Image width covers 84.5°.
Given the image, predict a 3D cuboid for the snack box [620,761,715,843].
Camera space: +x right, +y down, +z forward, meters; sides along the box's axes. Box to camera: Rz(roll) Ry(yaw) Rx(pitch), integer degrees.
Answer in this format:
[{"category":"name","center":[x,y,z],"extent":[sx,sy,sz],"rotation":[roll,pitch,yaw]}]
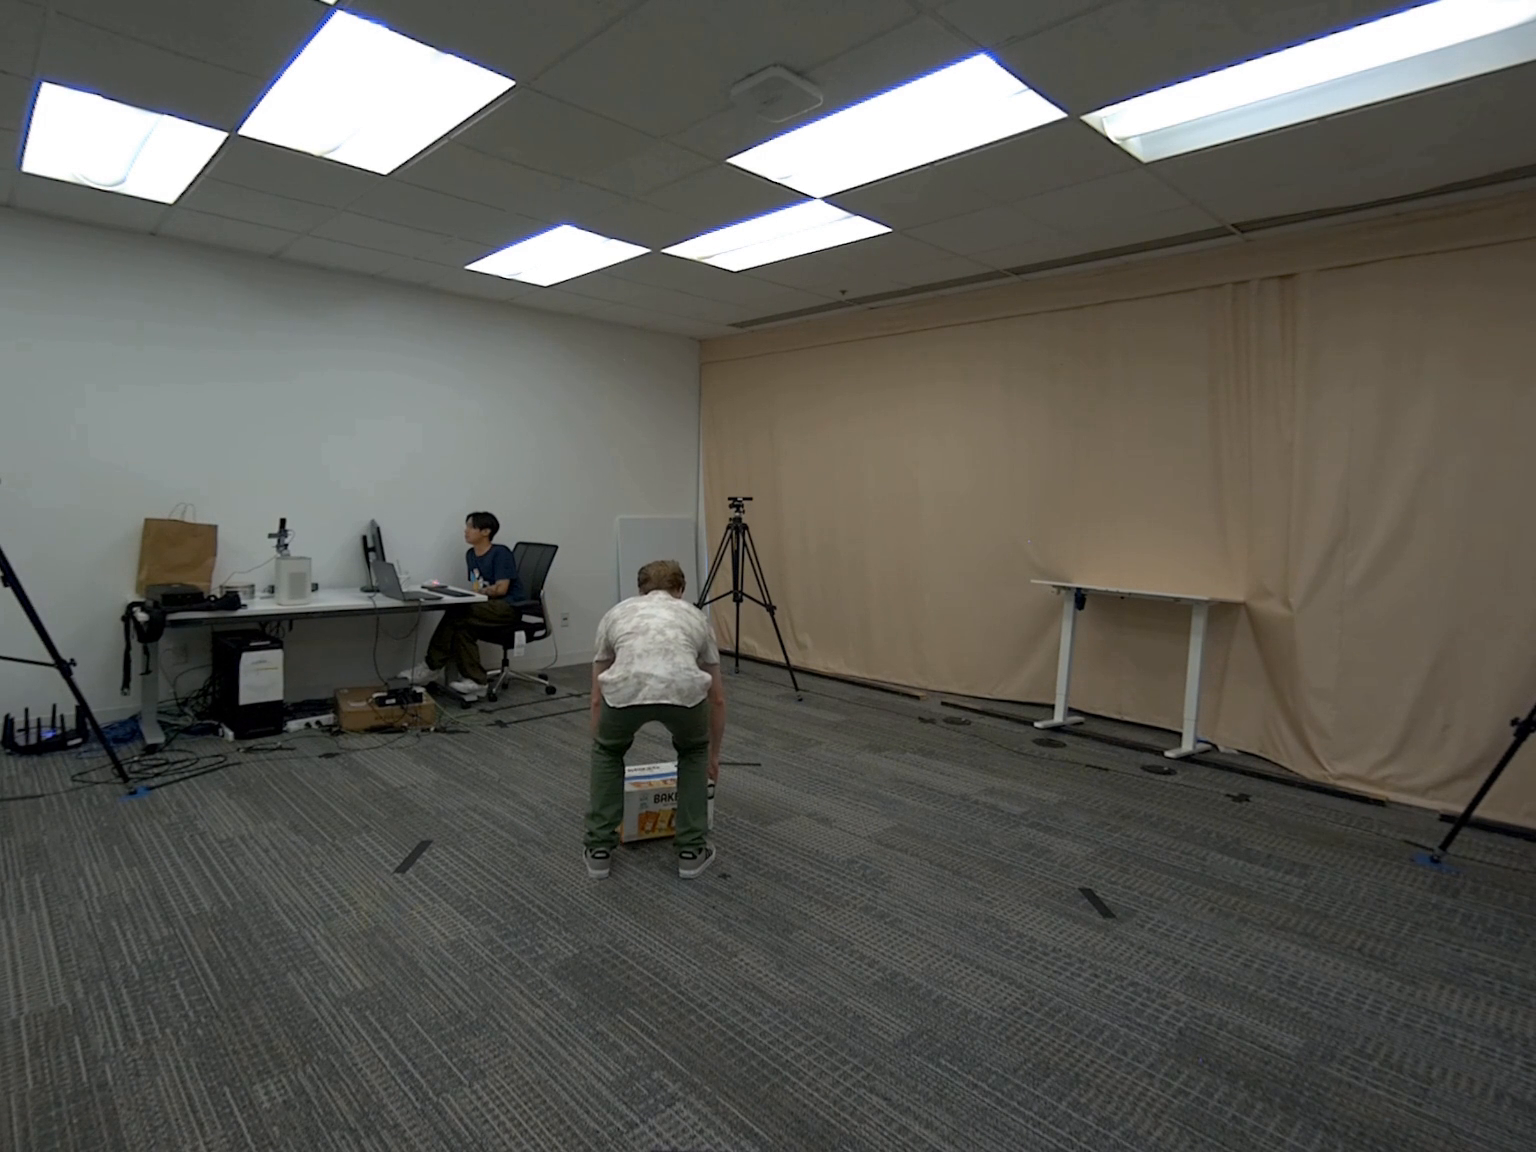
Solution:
[{"category":"snack box","center":[-0.489,0.942,3.558],"extent":[0.396,0.205,0.348],"rotation":[1,2,-30]}]
